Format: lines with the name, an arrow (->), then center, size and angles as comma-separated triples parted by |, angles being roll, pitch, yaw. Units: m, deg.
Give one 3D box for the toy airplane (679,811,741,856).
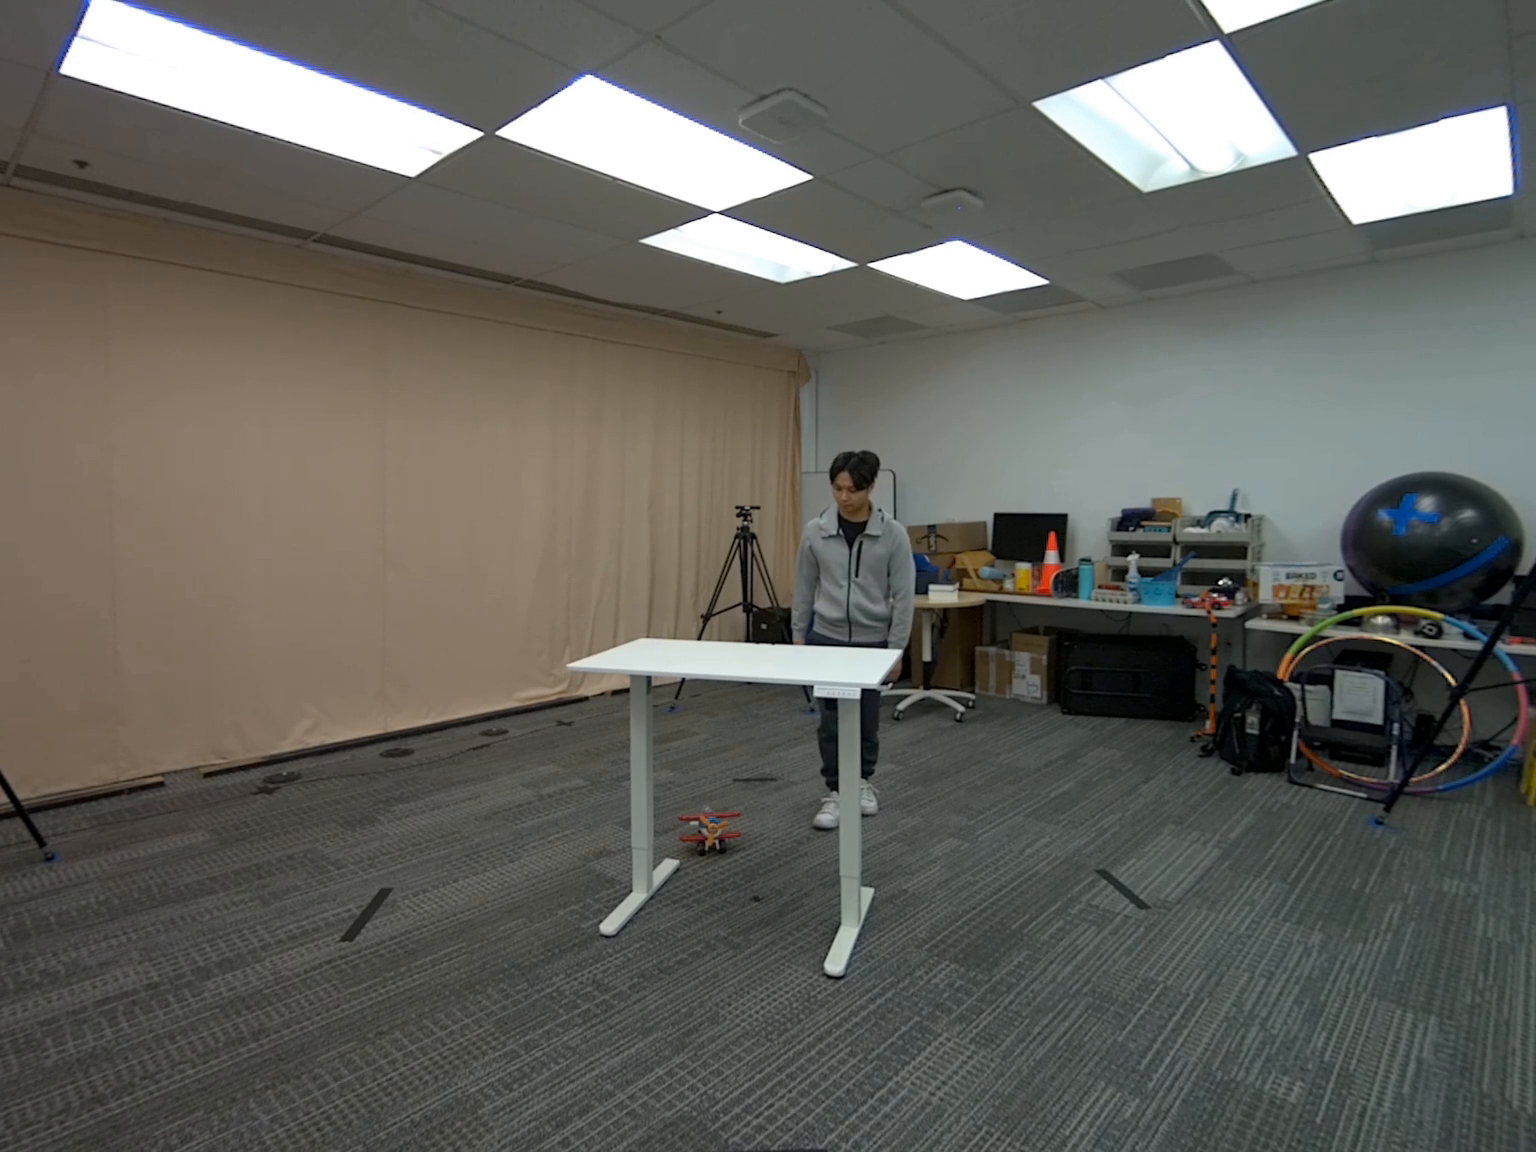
toy airplane -> -0.260, 1.031, 3.444 | 0.243, 0.156, 0.268 | -4, 5, -39
